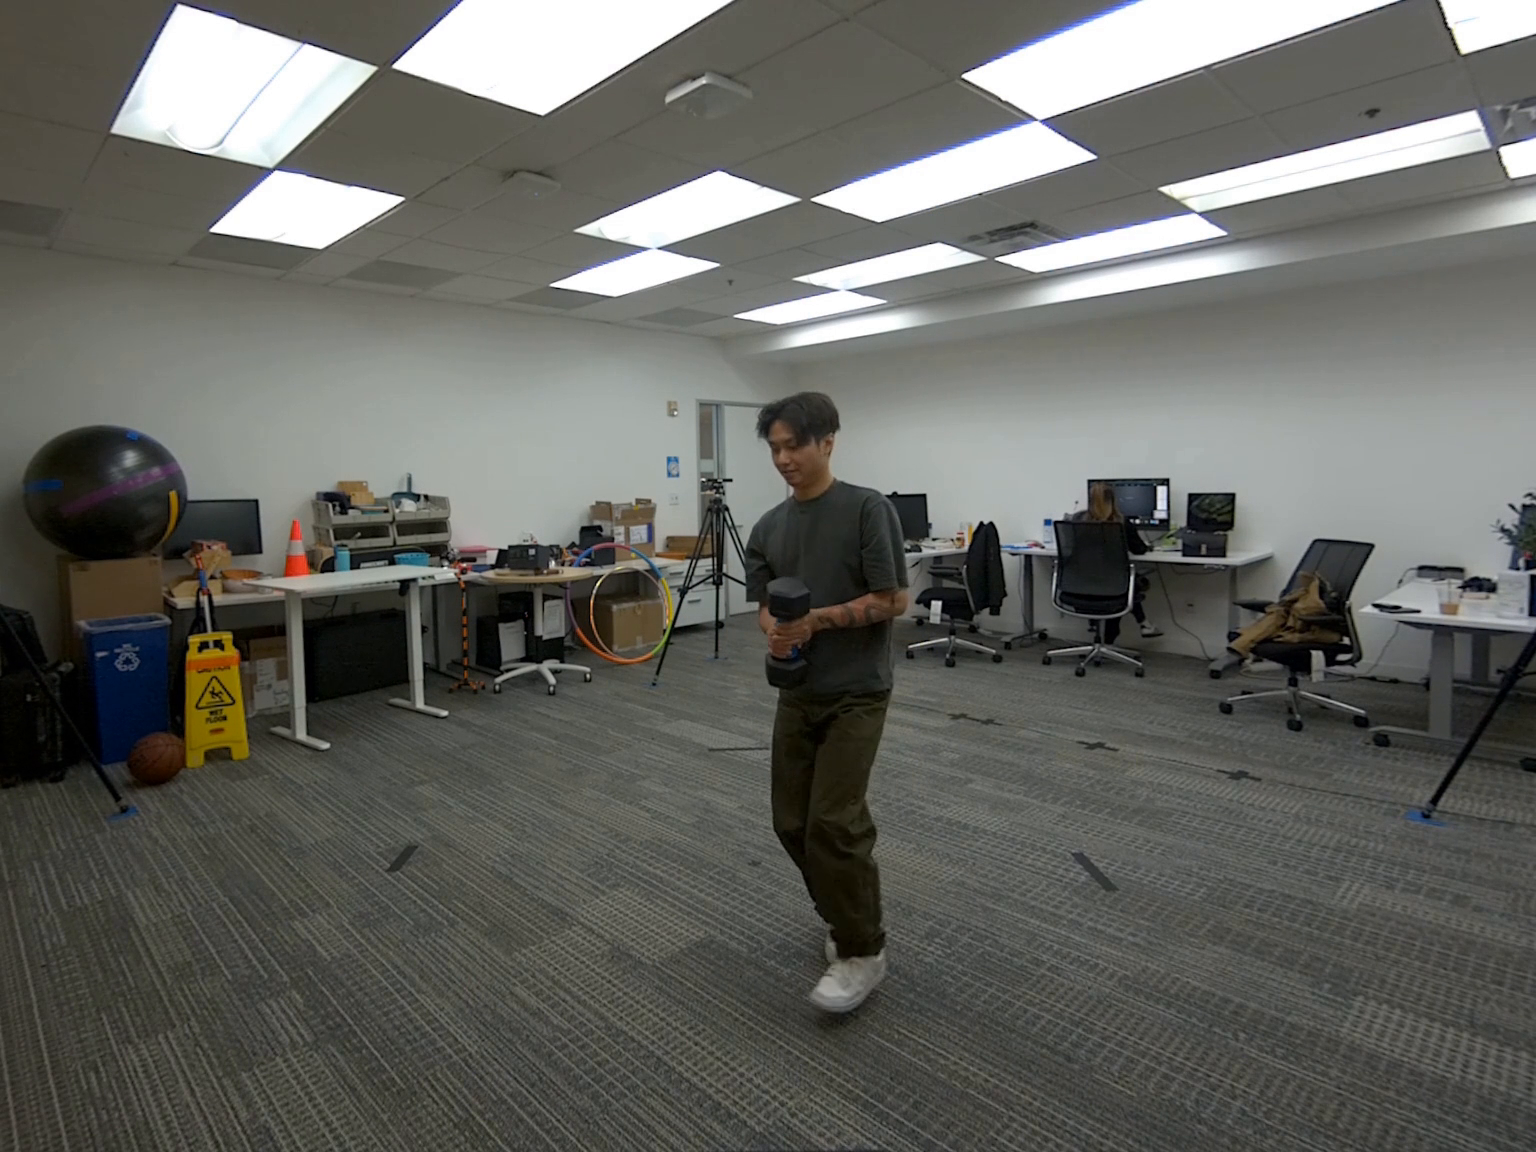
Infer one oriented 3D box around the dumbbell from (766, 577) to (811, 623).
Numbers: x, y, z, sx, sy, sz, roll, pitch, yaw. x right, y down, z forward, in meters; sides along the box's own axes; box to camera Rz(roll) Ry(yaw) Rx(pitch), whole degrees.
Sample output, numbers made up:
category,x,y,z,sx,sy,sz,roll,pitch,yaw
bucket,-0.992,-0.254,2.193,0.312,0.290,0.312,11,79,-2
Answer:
category,x,y,z,sx,sy,sz,roll,pitch,yaw
dumbbell,0.058,0.160,2.277,0.108,0.288,0.125,-1,23,-3
